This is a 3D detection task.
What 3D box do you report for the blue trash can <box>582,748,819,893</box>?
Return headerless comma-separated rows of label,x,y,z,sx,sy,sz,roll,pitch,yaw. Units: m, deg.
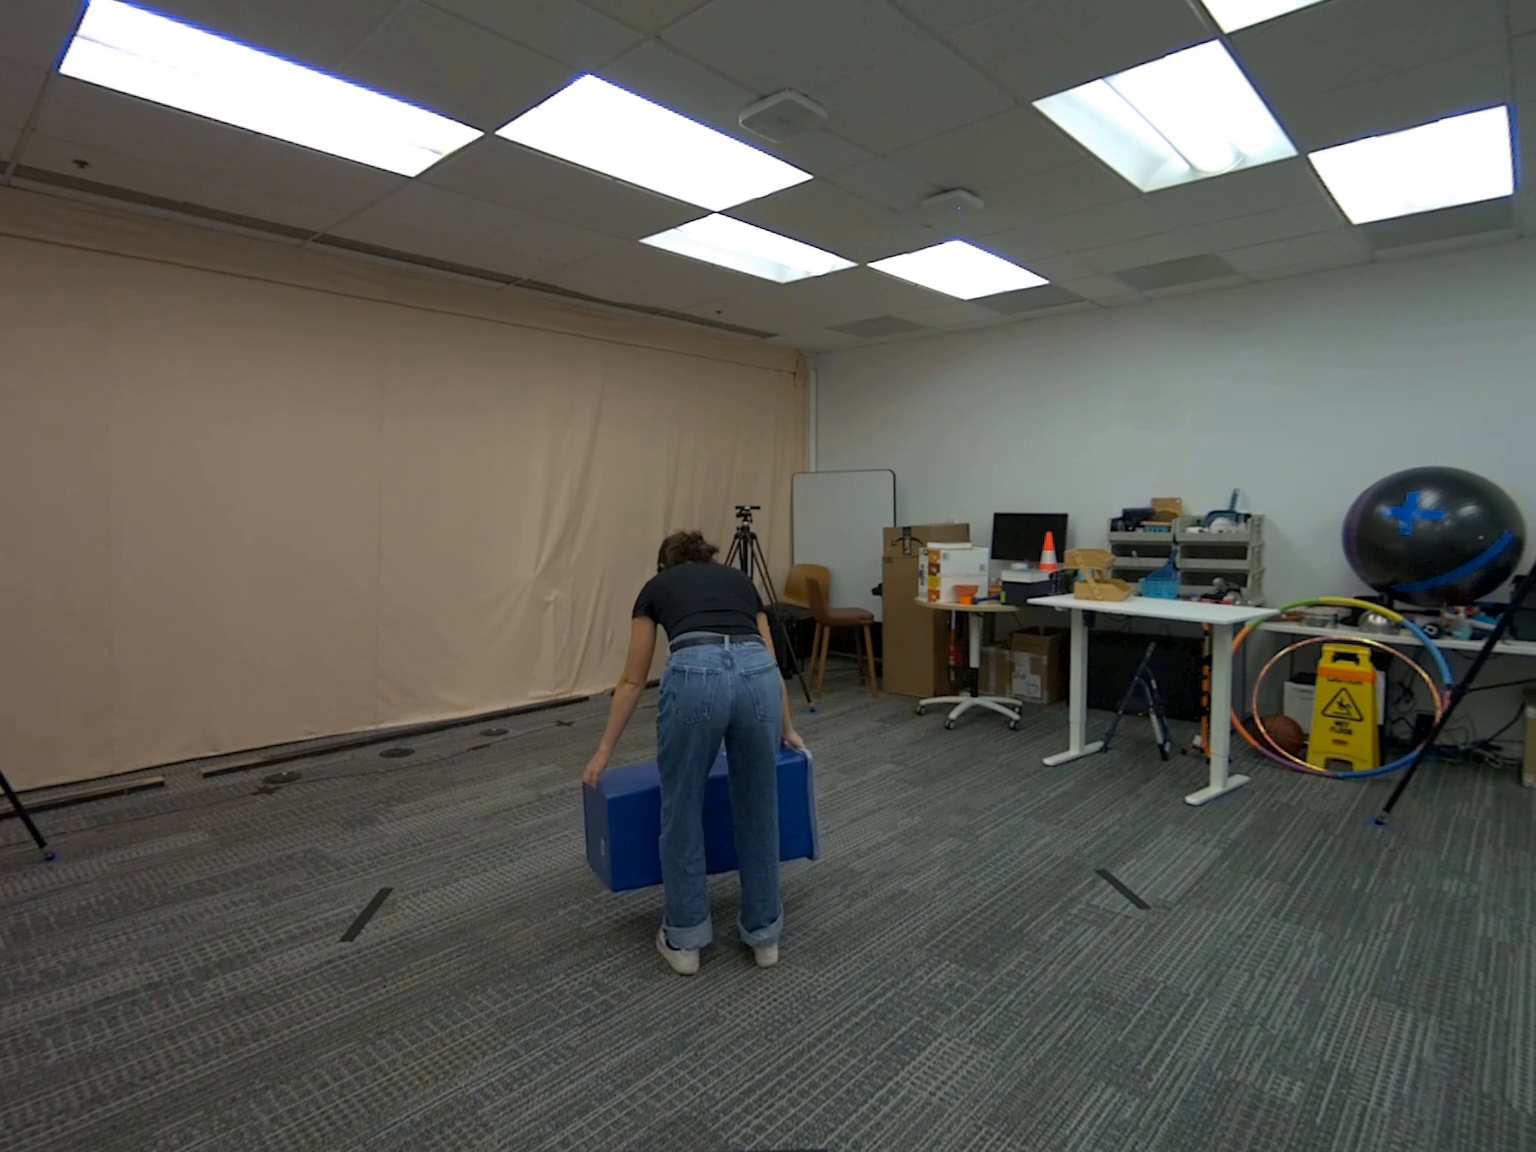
blue trash can,-0.236,0.804,2.852,0.698,0.374,0.387,-5,2,-23
